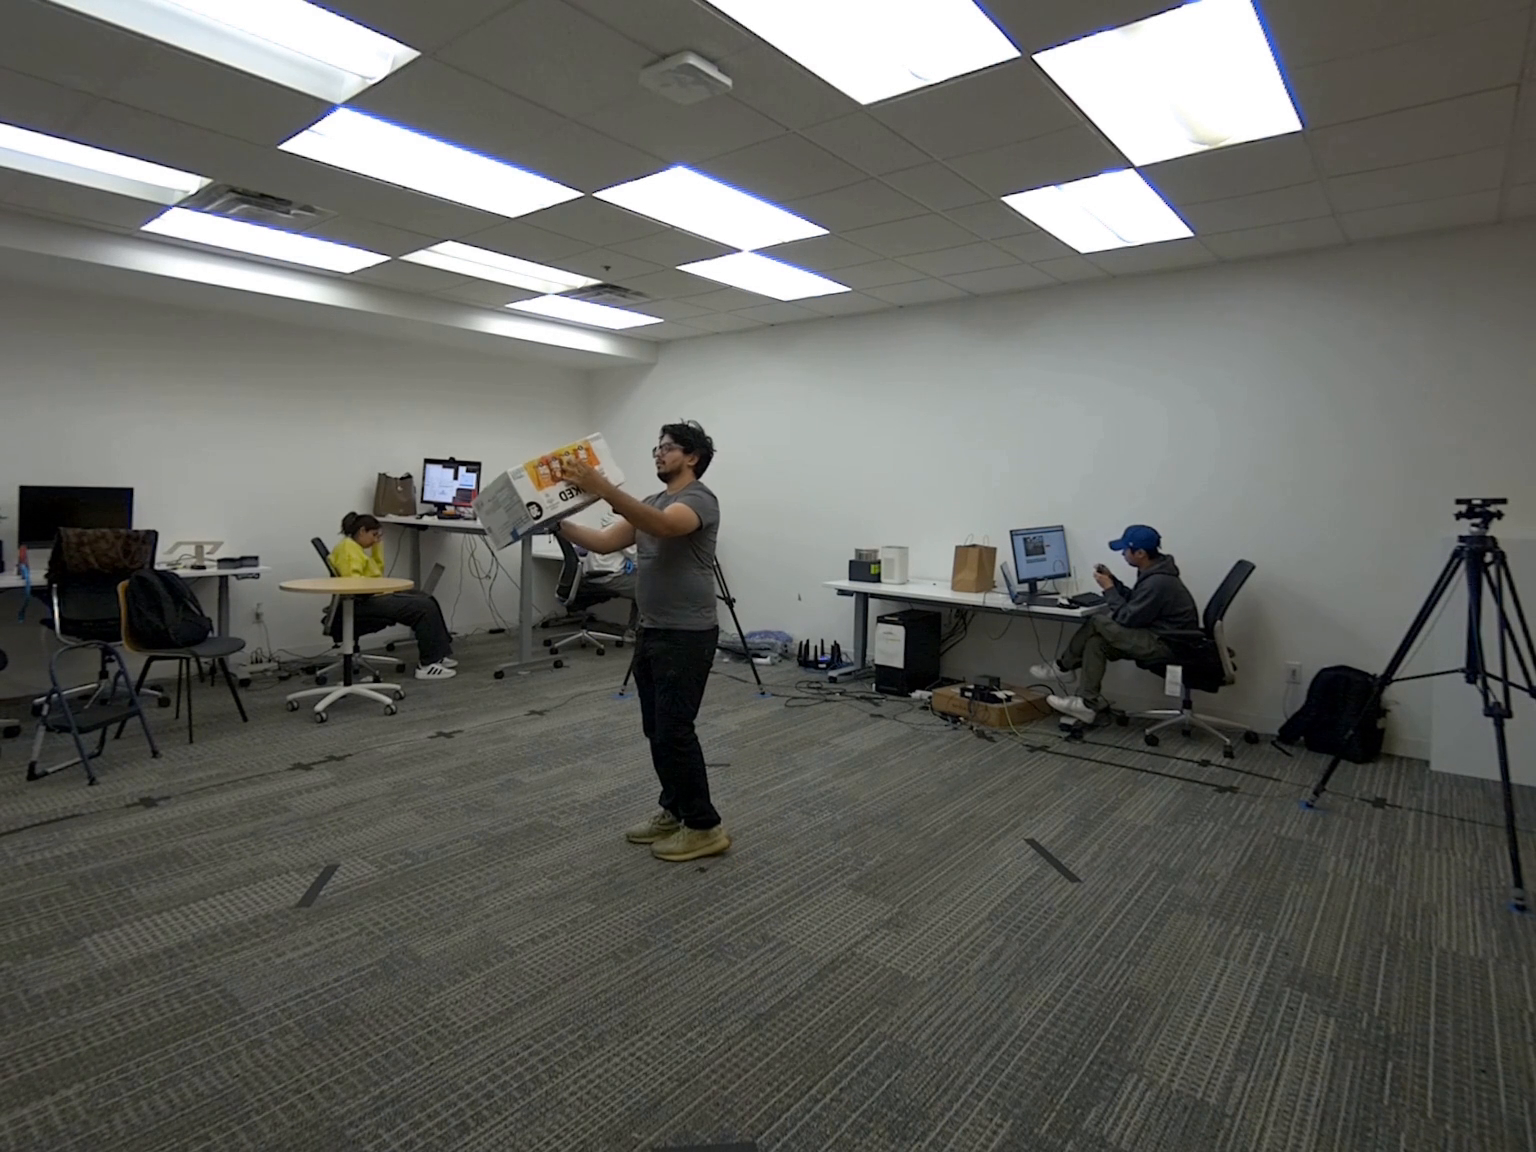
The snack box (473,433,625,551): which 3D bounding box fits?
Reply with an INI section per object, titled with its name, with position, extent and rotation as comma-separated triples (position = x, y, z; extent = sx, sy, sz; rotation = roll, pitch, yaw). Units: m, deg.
[snack box]
position = -0.793, -0.300, 3.027
extent = 0.400, 0.205, 0.346
rotation = -33, 7, -40
